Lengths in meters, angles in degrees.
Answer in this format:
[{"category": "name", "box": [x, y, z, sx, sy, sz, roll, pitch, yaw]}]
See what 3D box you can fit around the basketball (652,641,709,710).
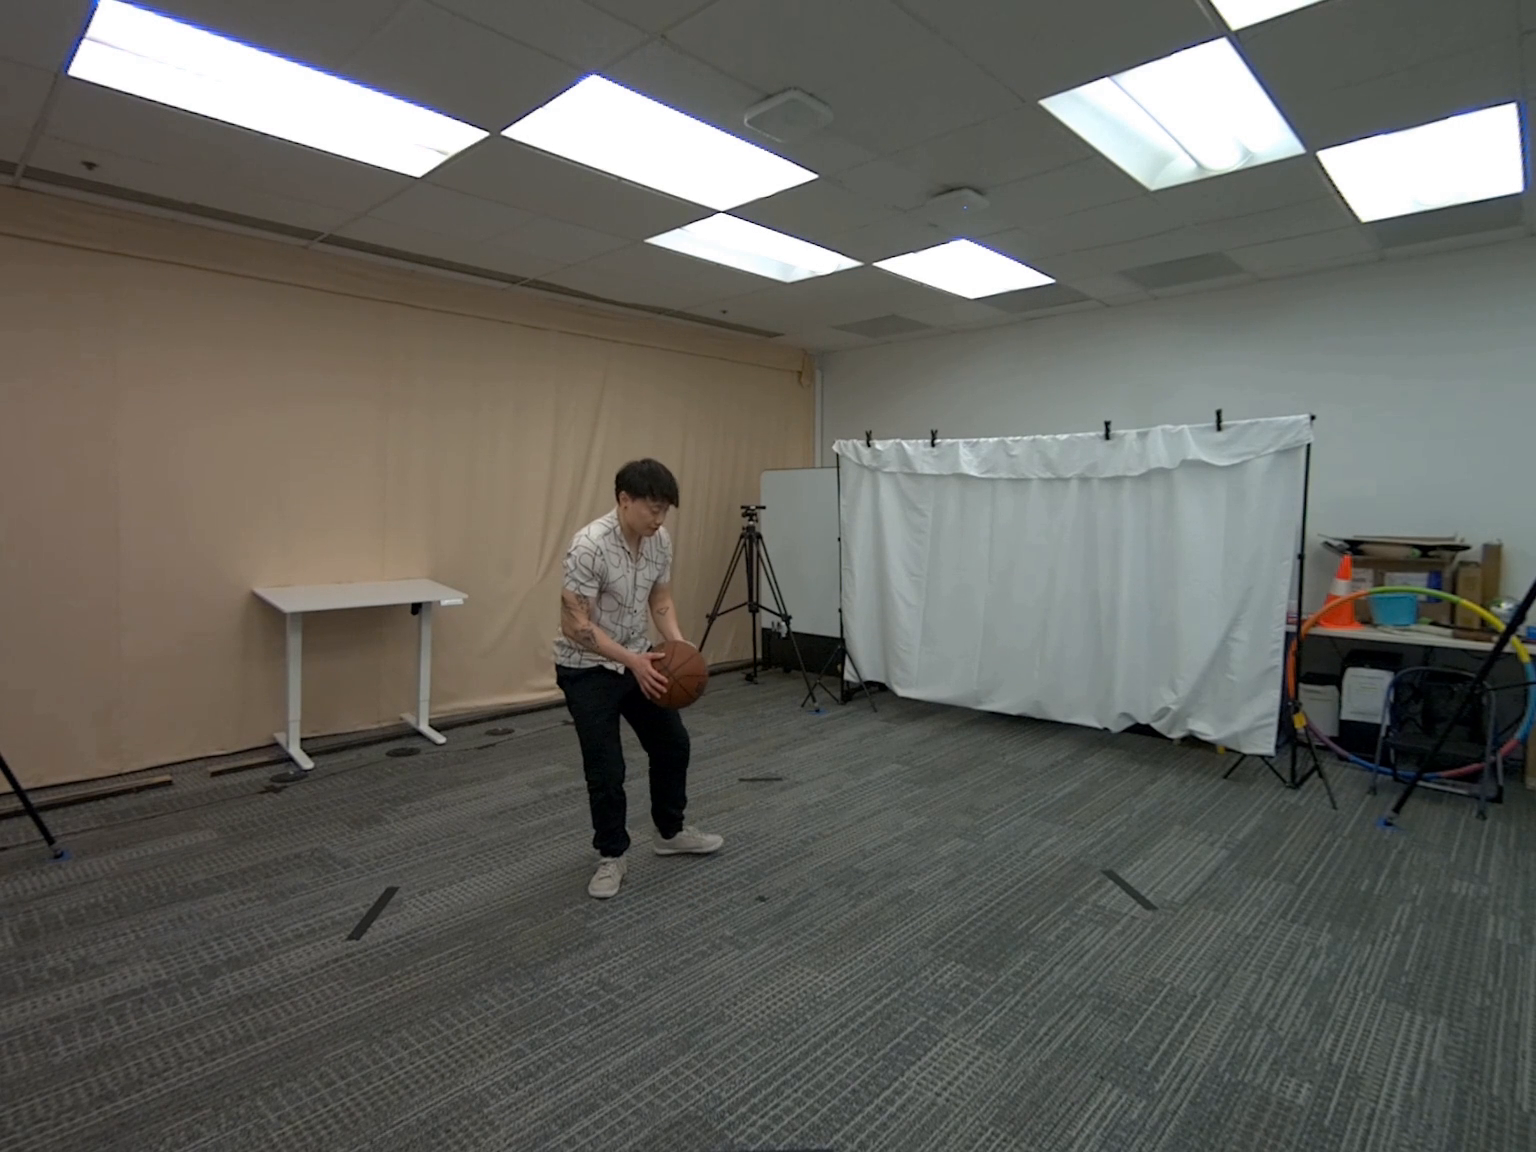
[{"category": "basketball", "box": [-0.333, 0.352, 2.950, 0.236, 0.235, 0.237, 0, 4, -2]}]
